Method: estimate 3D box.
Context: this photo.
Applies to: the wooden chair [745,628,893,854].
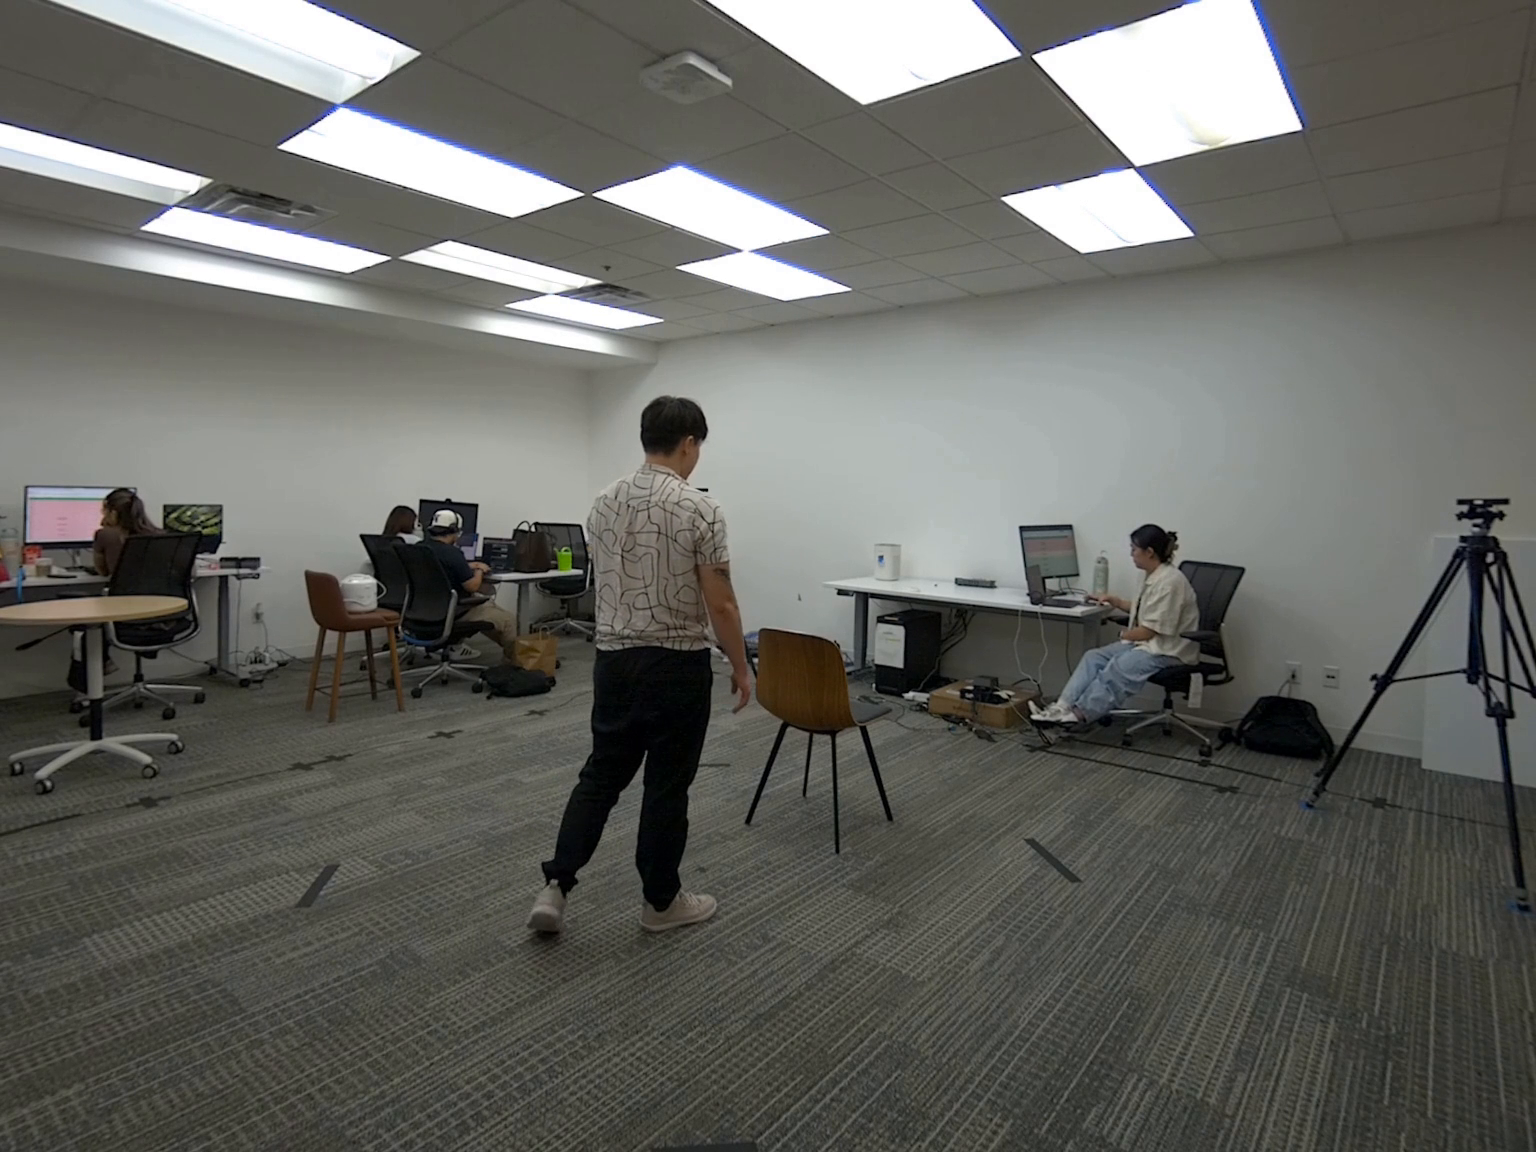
[{"bbox_3d":[0.221,0.606,3.557,0.494,0.872,0.510,3,8,37],"label":"wooden chair"}]
